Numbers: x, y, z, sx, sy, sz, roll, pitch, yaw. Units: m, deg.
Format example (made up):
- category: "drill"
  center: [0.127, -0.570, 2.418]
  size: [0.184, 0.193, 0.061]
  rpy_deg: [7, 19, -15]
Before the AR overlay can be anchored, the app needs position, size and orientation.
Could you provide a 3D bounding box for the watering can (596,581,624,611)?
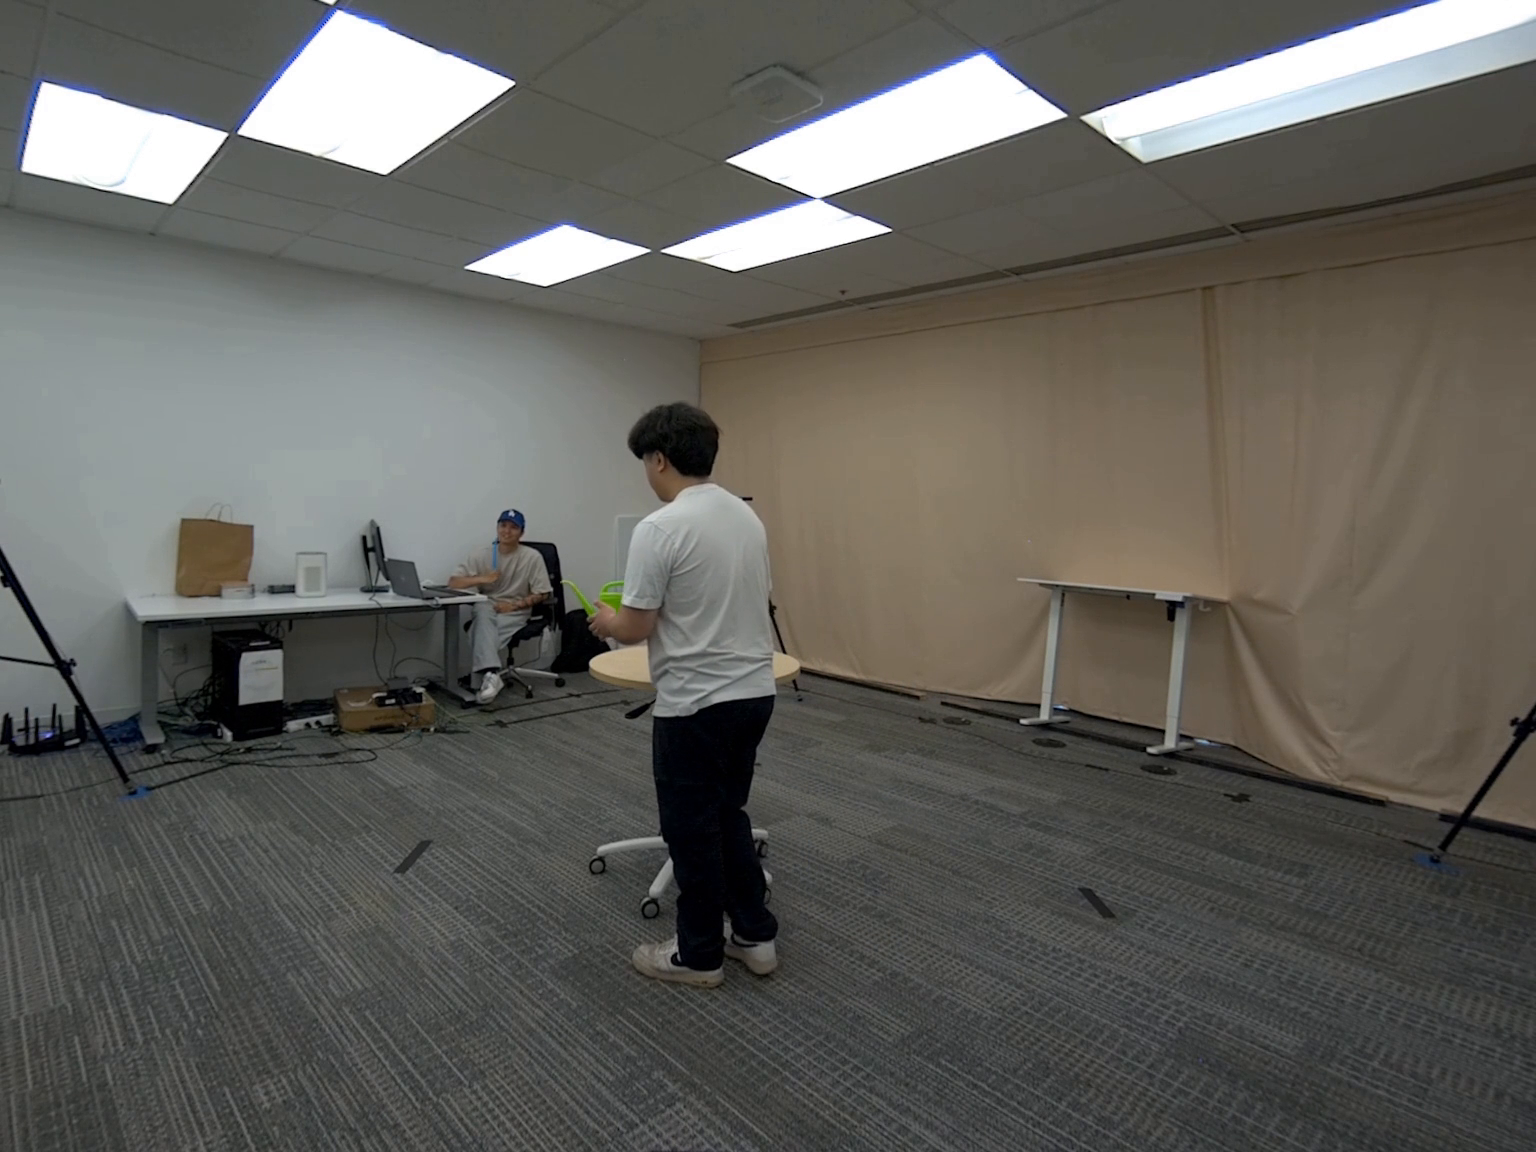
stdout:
- category: "watering can"
  center: [-0.510, 0.110, 2.640]
  size: [0.282, 0.177, 0.096]
  rpy_deg: [0, -6, 16]
